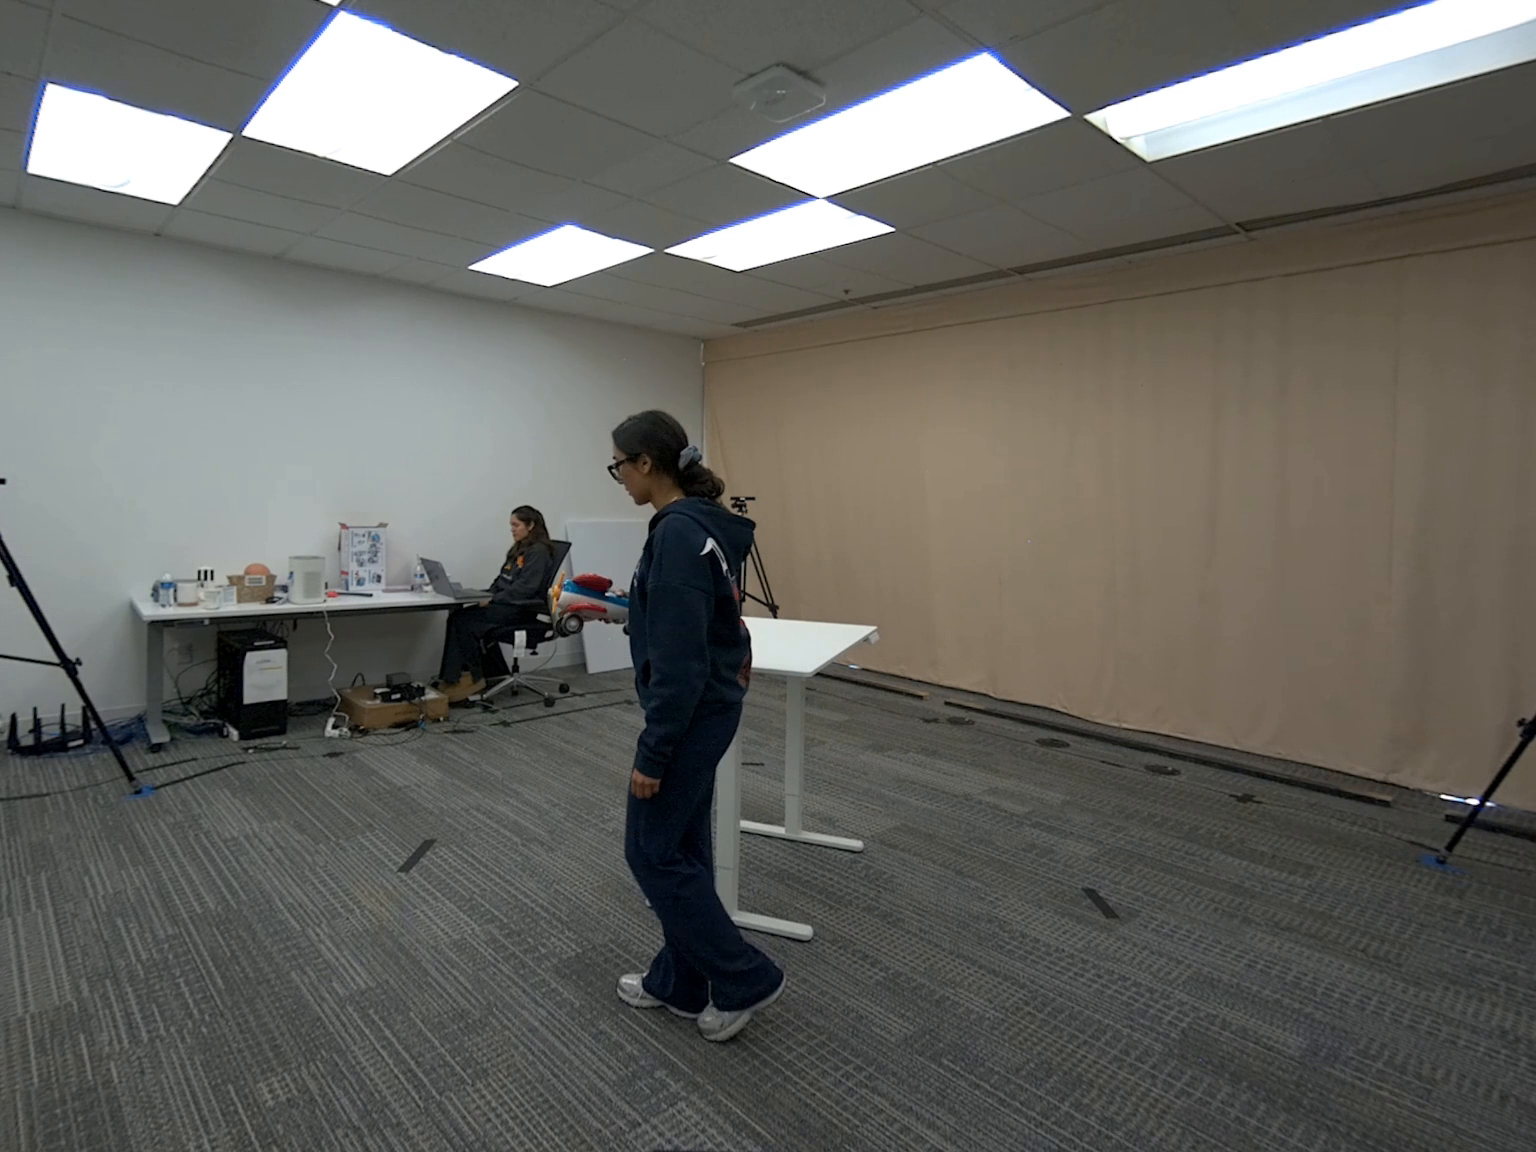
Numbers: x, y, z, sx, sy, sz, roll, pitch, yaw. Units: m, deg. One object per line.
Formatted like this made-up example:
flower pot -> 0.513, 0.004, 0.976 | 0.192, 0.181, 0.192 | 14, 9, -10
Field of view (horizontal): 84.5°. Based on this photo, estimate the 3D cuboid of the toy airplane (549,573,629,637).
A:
toy airplane -> -0.463, 0.089, 2.291 | 0.256, 0.157, 0.252 | -10, -11, 38
